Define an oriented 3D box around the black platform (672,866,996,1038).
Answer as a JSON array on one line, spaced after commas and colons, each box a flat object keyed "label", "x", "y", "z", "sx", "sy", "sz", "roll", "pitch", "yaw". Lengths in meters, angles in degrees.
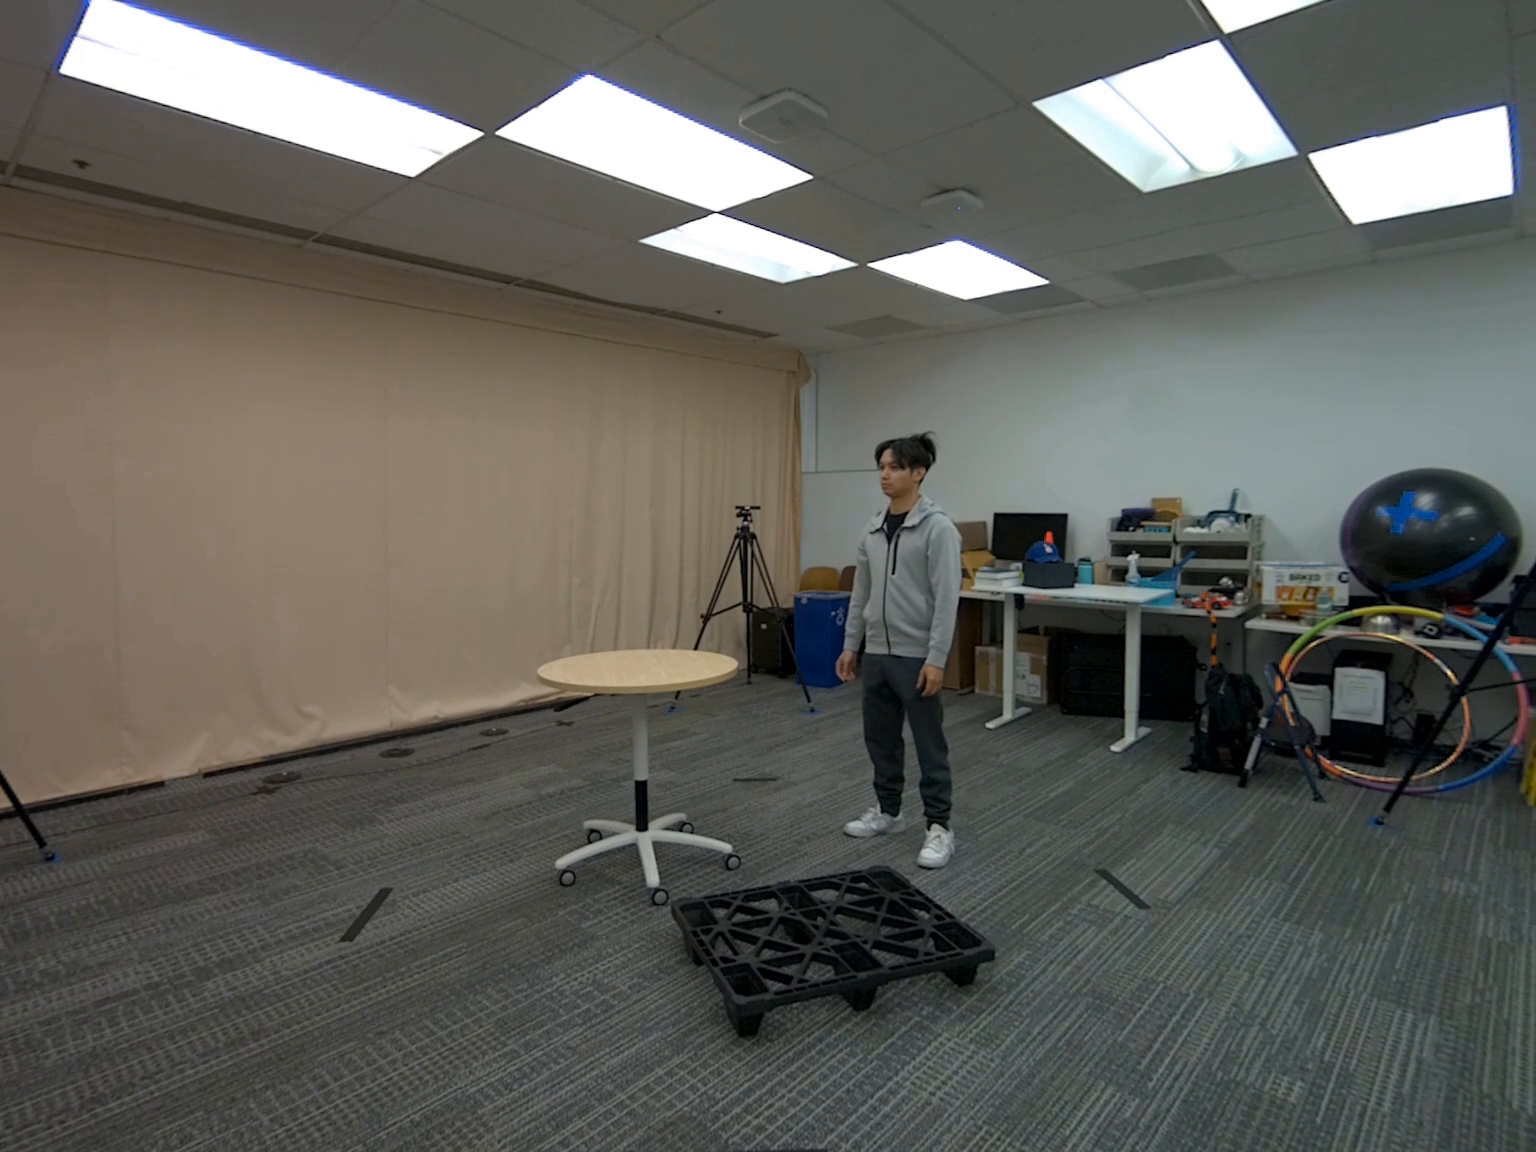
[{"label": "black platform", "x": 0.168, "y": 1.113, "z": 2.543, "sx": 0.789, "sy": 0.143, "sz": 0.619, "roll": -2, "pitch": 4, "yaw": -21}]
